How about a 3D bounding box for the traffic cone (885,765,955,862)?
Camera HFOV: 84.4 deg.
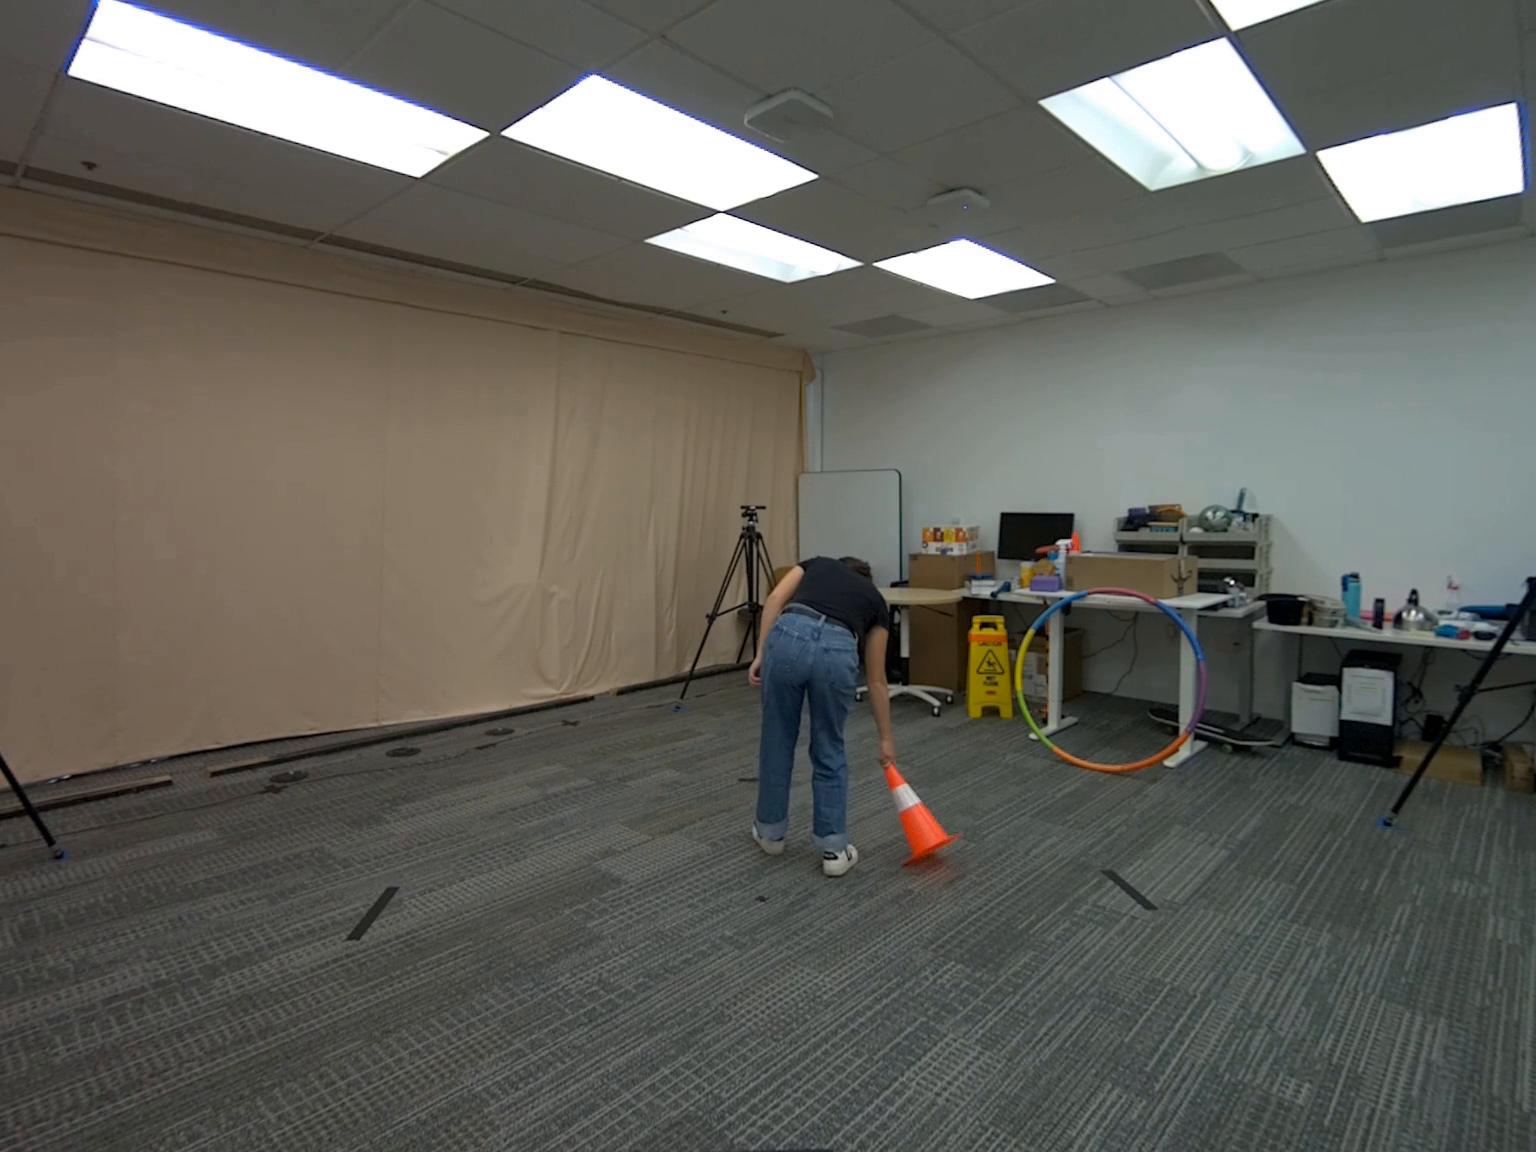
[{"bbox_3d":[0.560,0.910,3.336,0.198,0.393,0.205,-9,-31,-30],"label":"traffic cone"}]
